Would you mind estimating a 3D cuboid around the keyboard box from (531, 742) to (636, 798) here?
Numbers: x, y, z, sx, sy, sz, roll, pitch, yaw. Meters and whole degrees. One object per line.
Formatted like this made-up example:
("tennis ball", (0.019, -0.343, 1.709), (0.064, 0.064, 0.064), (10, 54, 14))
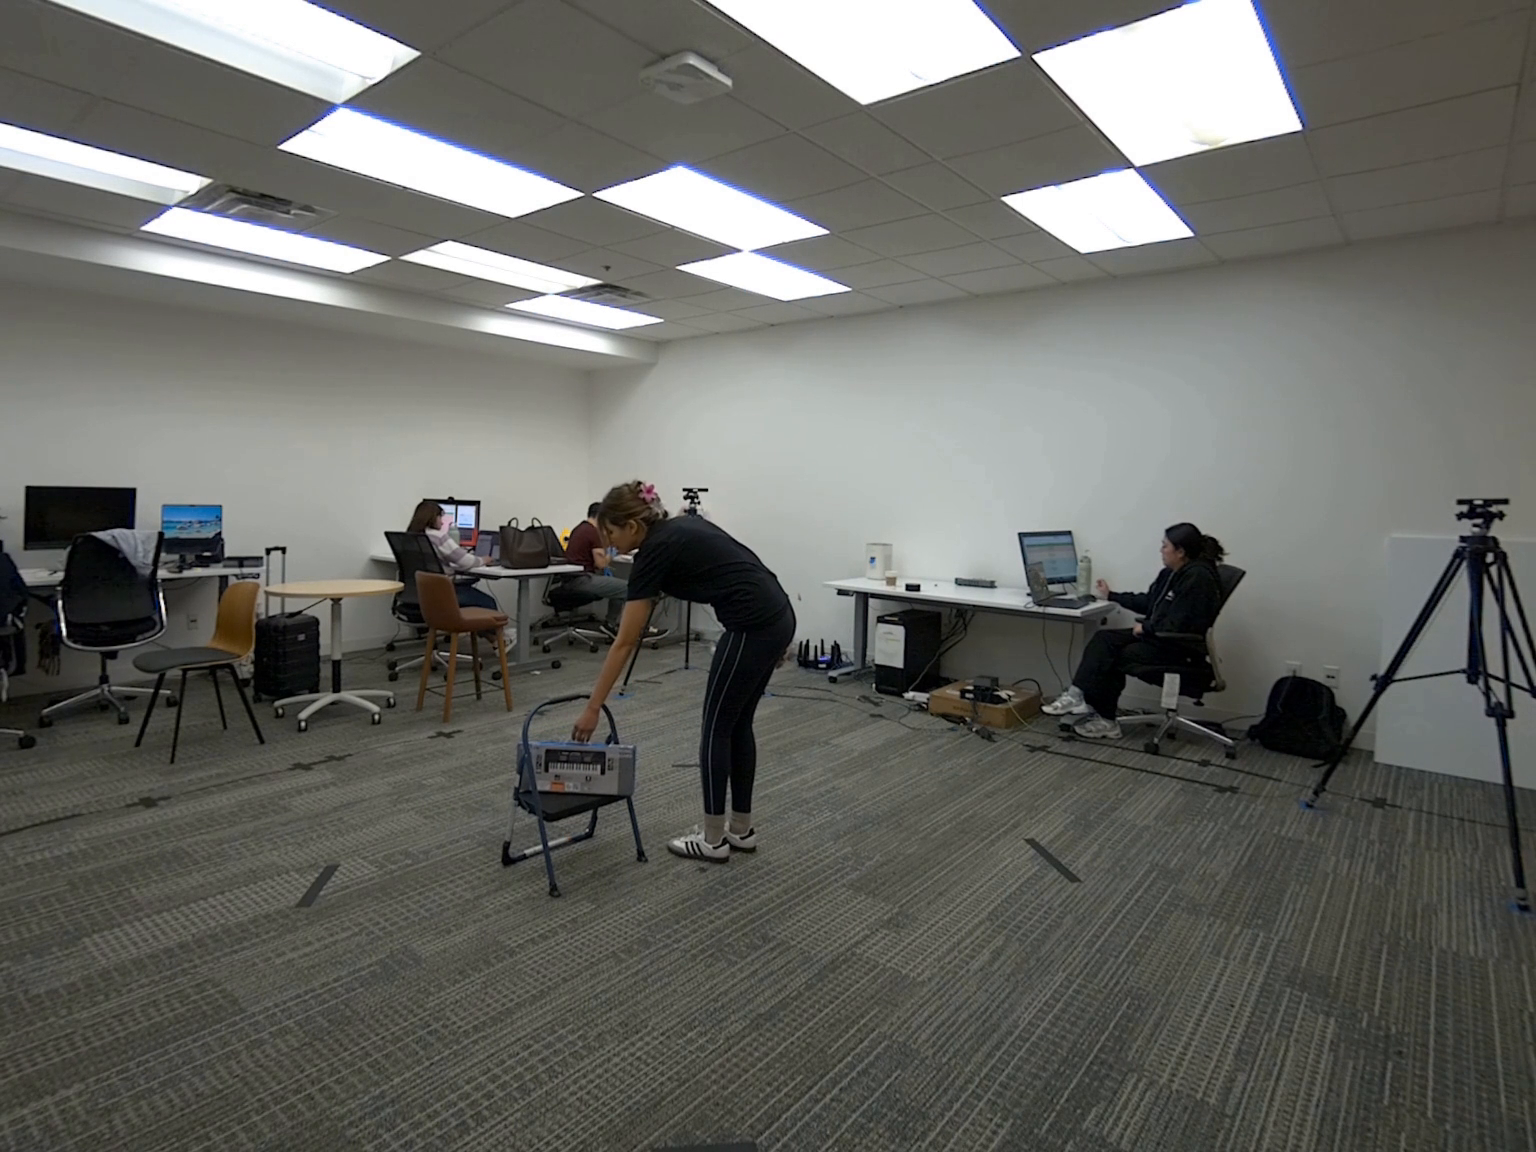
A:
("keyboard box", (-0.723, 0.705, 3.145), (0.438, 0.176, 0.059), (1, -3, 3))
